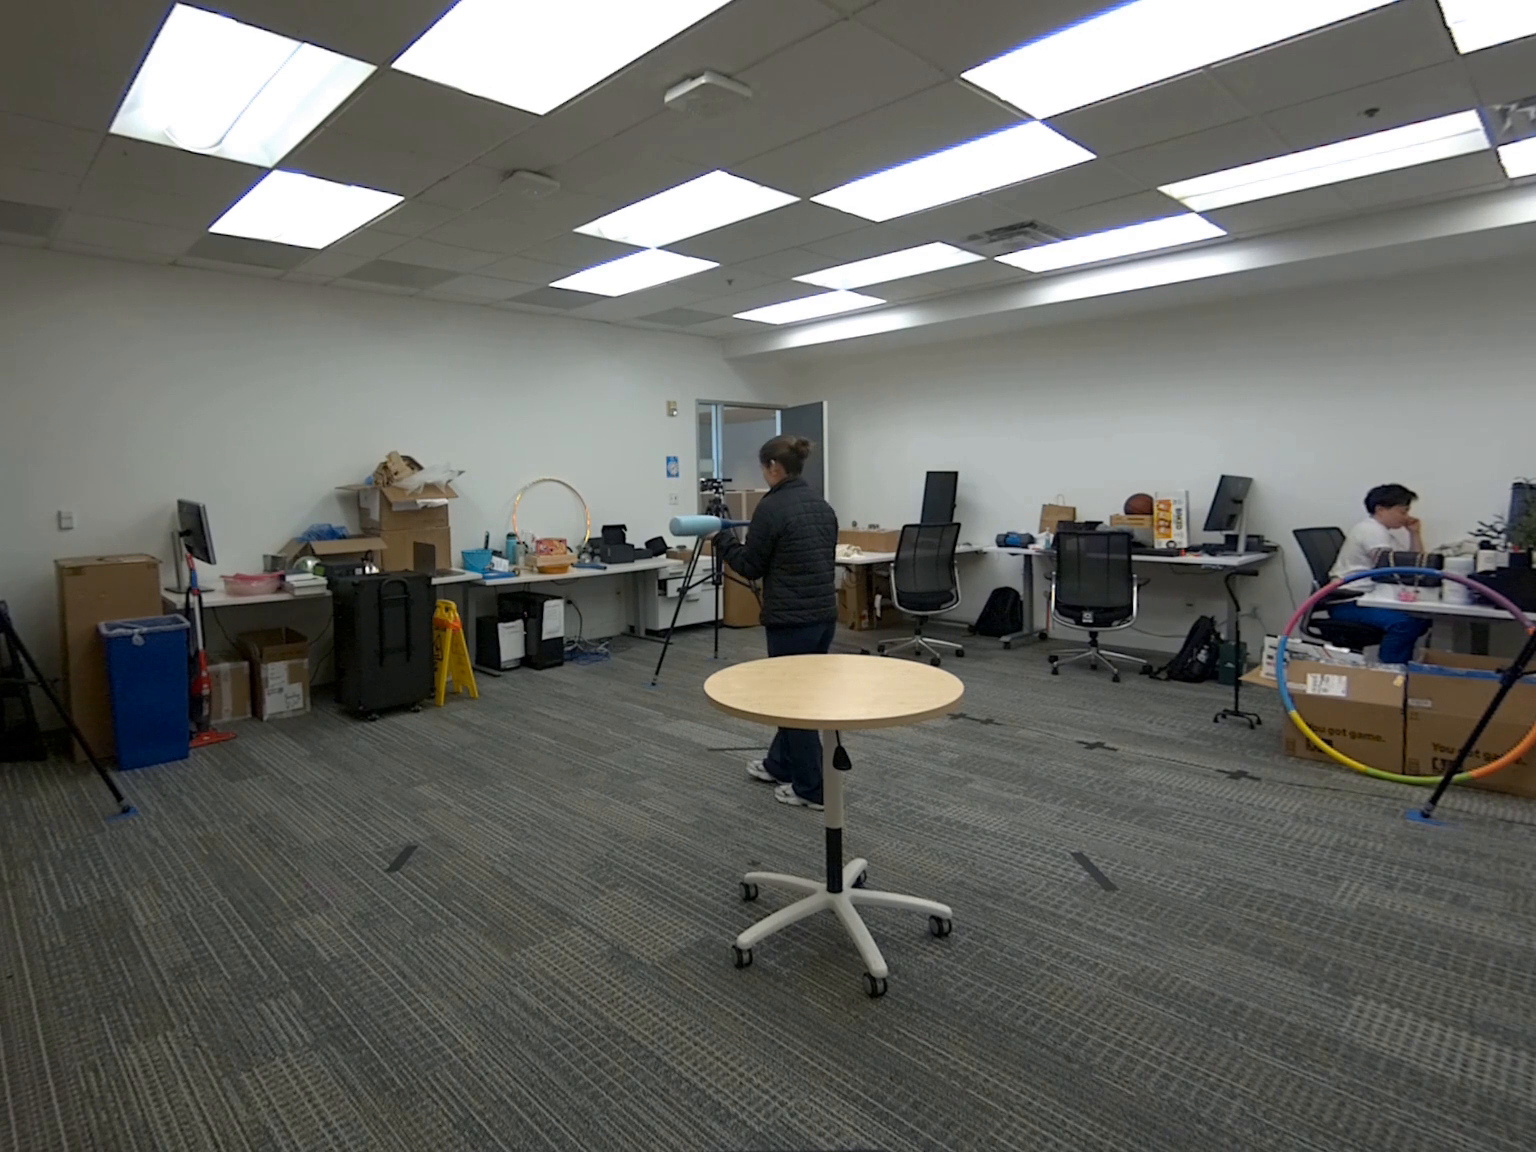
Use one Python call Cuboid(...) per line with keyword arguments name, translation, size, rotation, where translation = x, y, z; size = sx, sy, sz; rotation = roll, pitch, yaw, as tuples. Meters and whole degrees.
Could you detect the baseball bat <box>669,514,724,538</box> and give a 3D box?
Cuboid(name="baseball bat", translation=(-0.216, -0.231, 3.799), size=(0.092, 0.089, 0.529), rotation=(4, 7, 45))
